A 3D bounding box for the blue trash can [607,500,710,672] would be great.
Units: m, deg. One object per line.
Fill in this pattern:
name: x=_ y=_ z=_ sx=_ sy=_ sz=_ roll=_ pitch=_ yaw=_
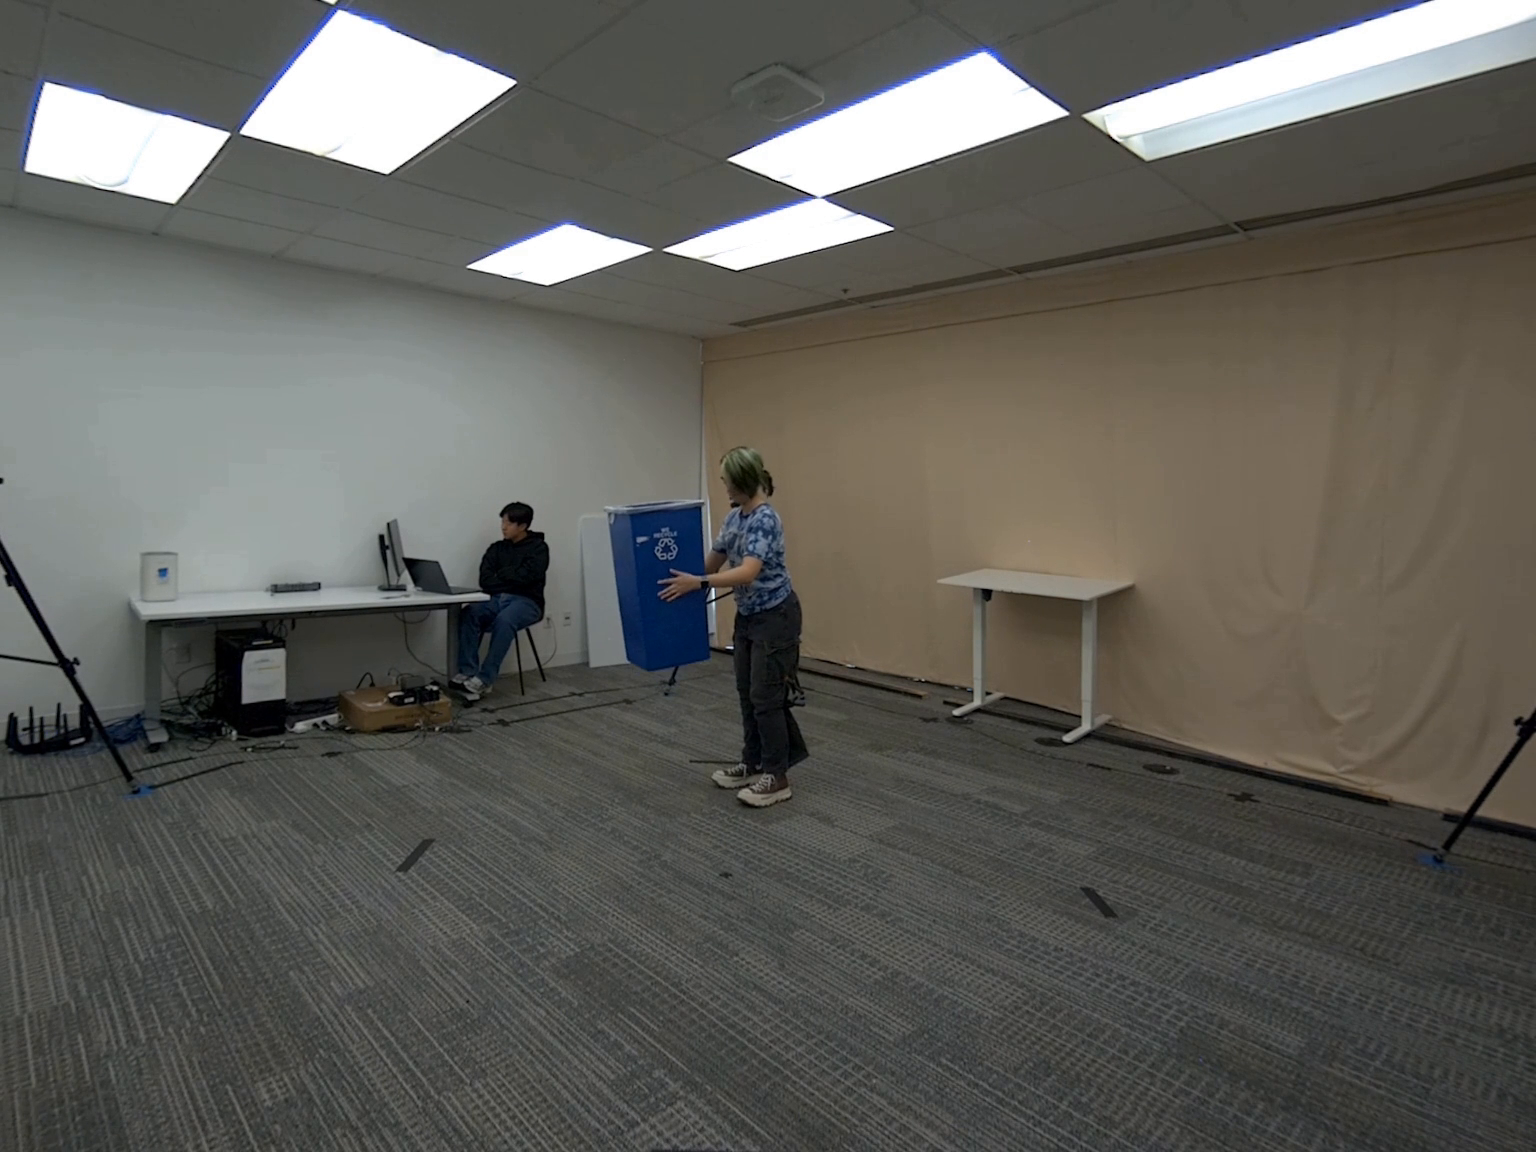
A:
blue trash can: x=-0.493 y=0.034 z=3.802 sx=0.368 sy=0.709 sz=0.386 roll=-8 pitch=8 yaw=-27
